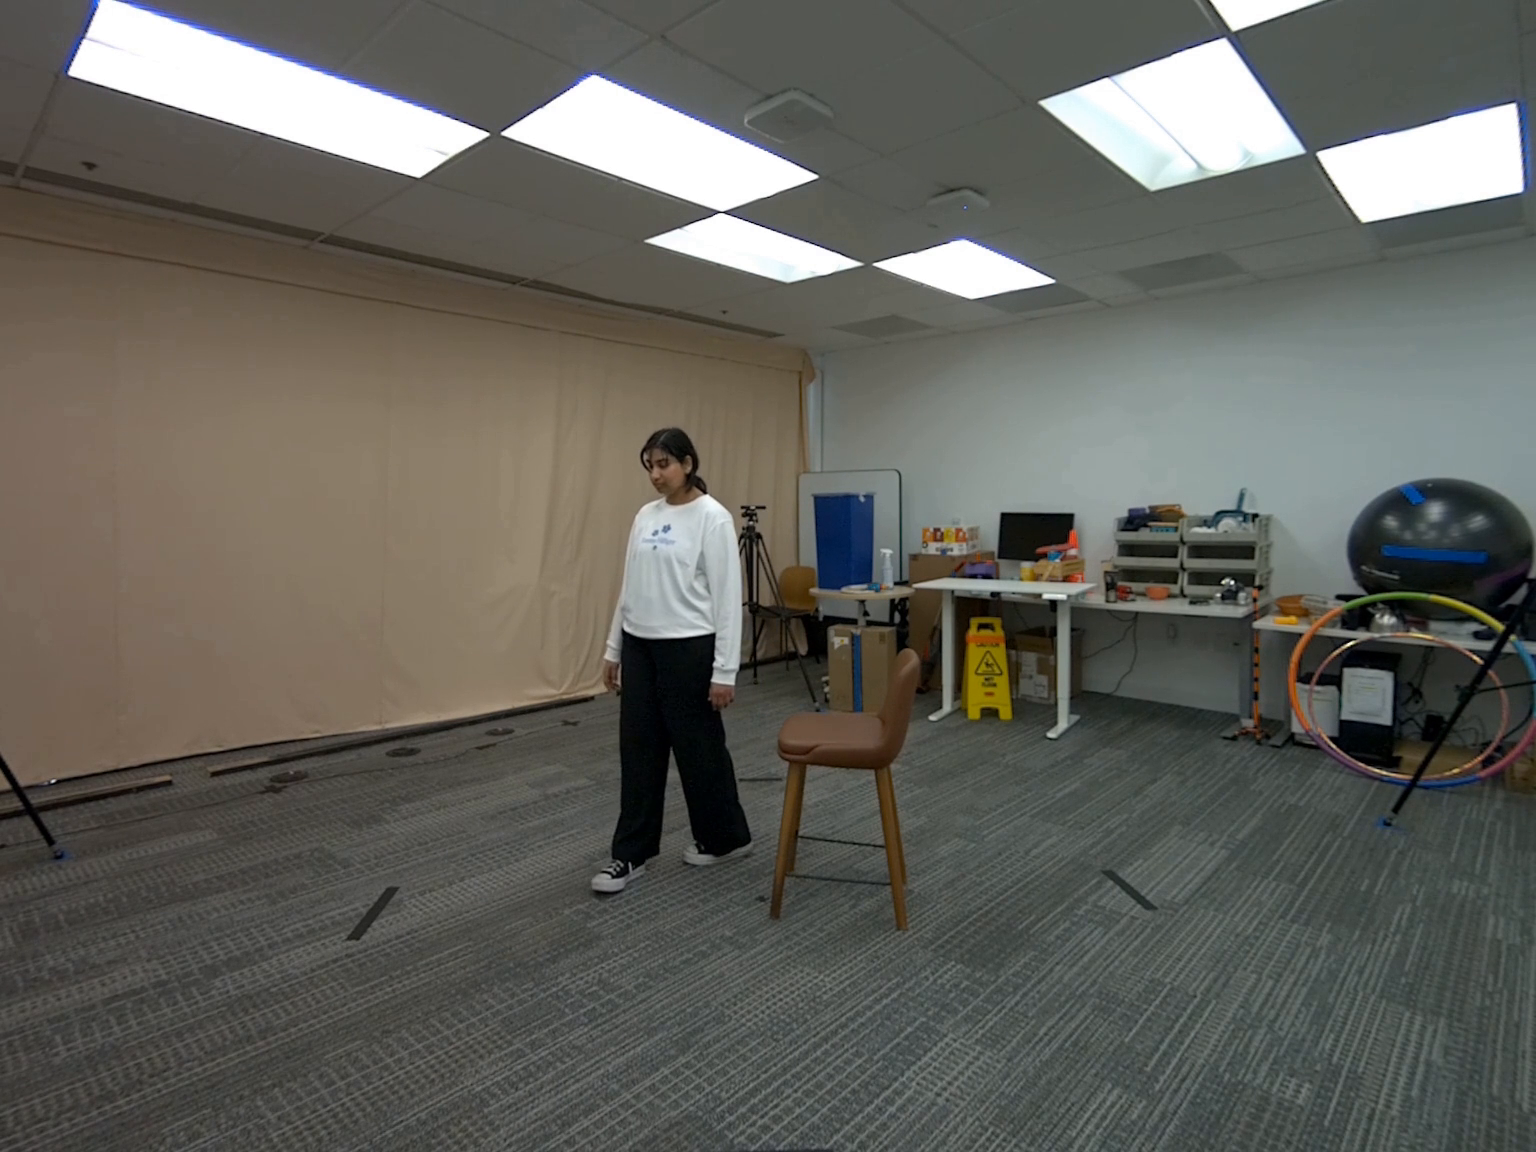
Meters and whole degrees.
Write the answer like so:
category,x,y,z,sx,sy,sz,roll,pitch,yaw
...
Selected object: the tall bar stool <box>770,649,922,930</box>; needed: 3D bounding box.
category,x,y,z,sx,sy,sz,roll,pitch,yaw
tall bar stool,0.272,0.710,2.959,0.474,0.888,0.451,3,4,12
